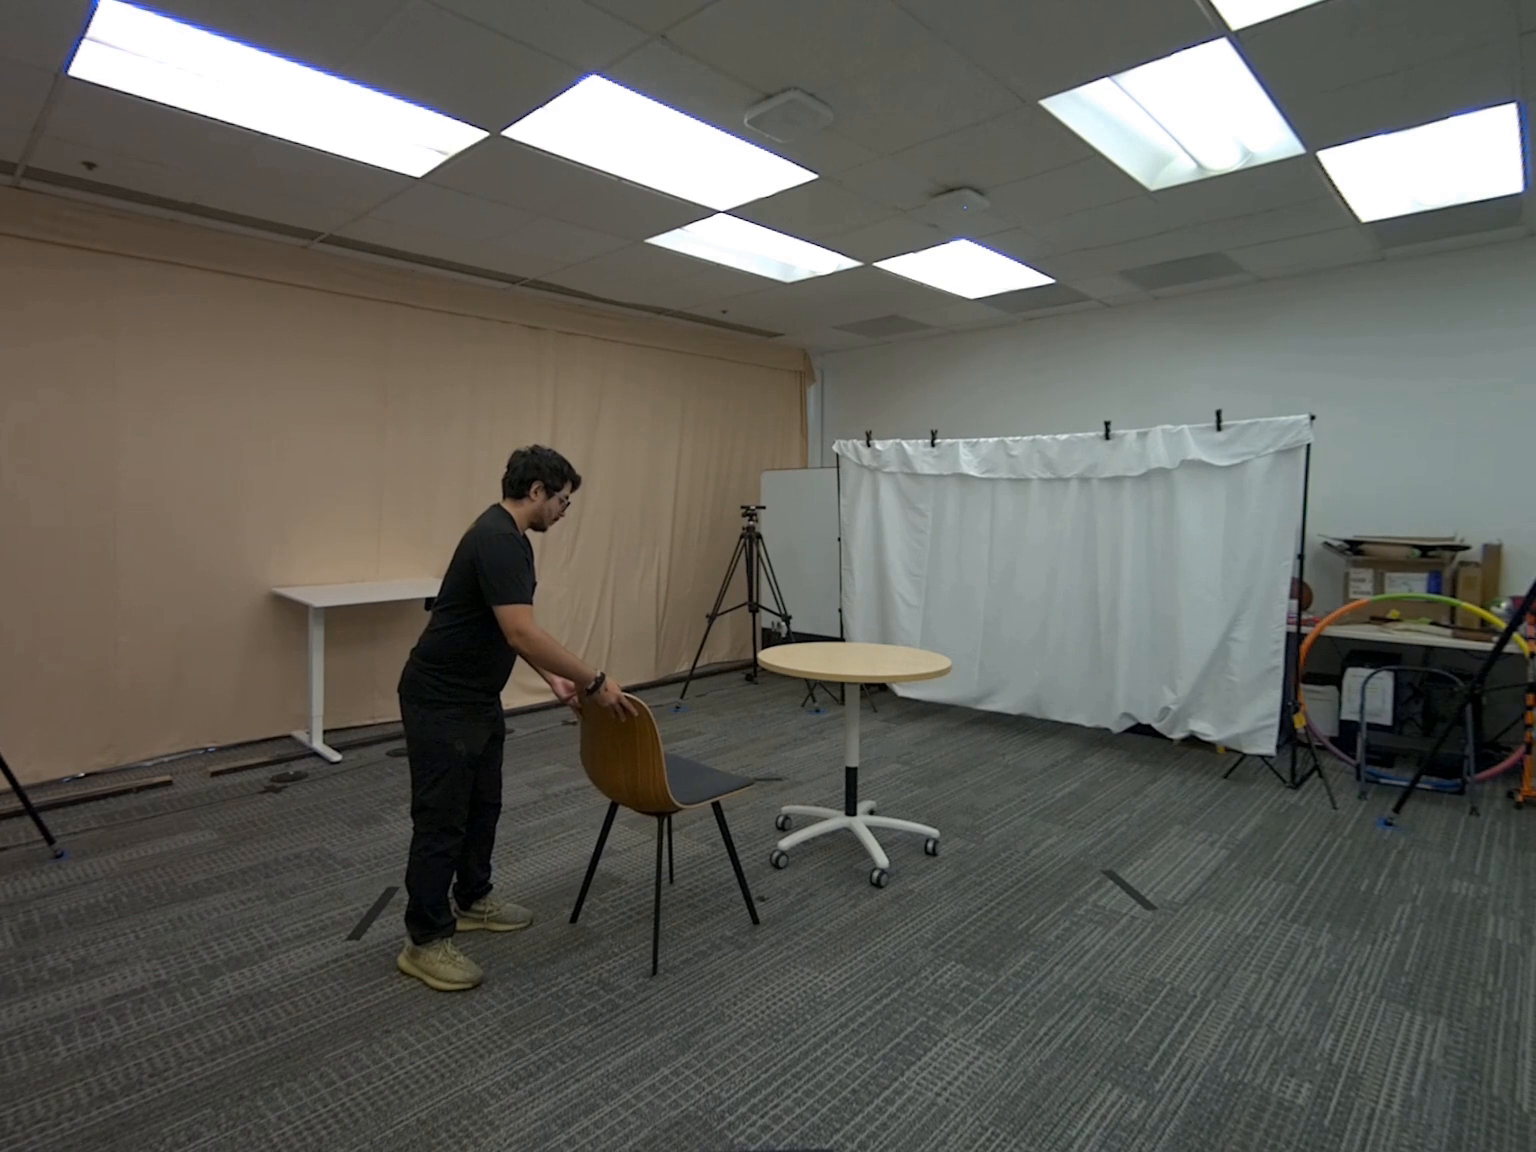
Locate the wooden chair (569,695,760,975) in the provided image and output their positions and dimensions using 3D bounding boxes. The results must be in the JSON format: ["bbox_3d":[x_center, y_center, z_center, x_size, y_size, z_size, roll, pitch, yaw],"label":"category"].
[{"bbox_3d":[-0.336,0.736,2.781,0.494,0.873,0.508,3,9,44],"label":"wooden chair"}]
